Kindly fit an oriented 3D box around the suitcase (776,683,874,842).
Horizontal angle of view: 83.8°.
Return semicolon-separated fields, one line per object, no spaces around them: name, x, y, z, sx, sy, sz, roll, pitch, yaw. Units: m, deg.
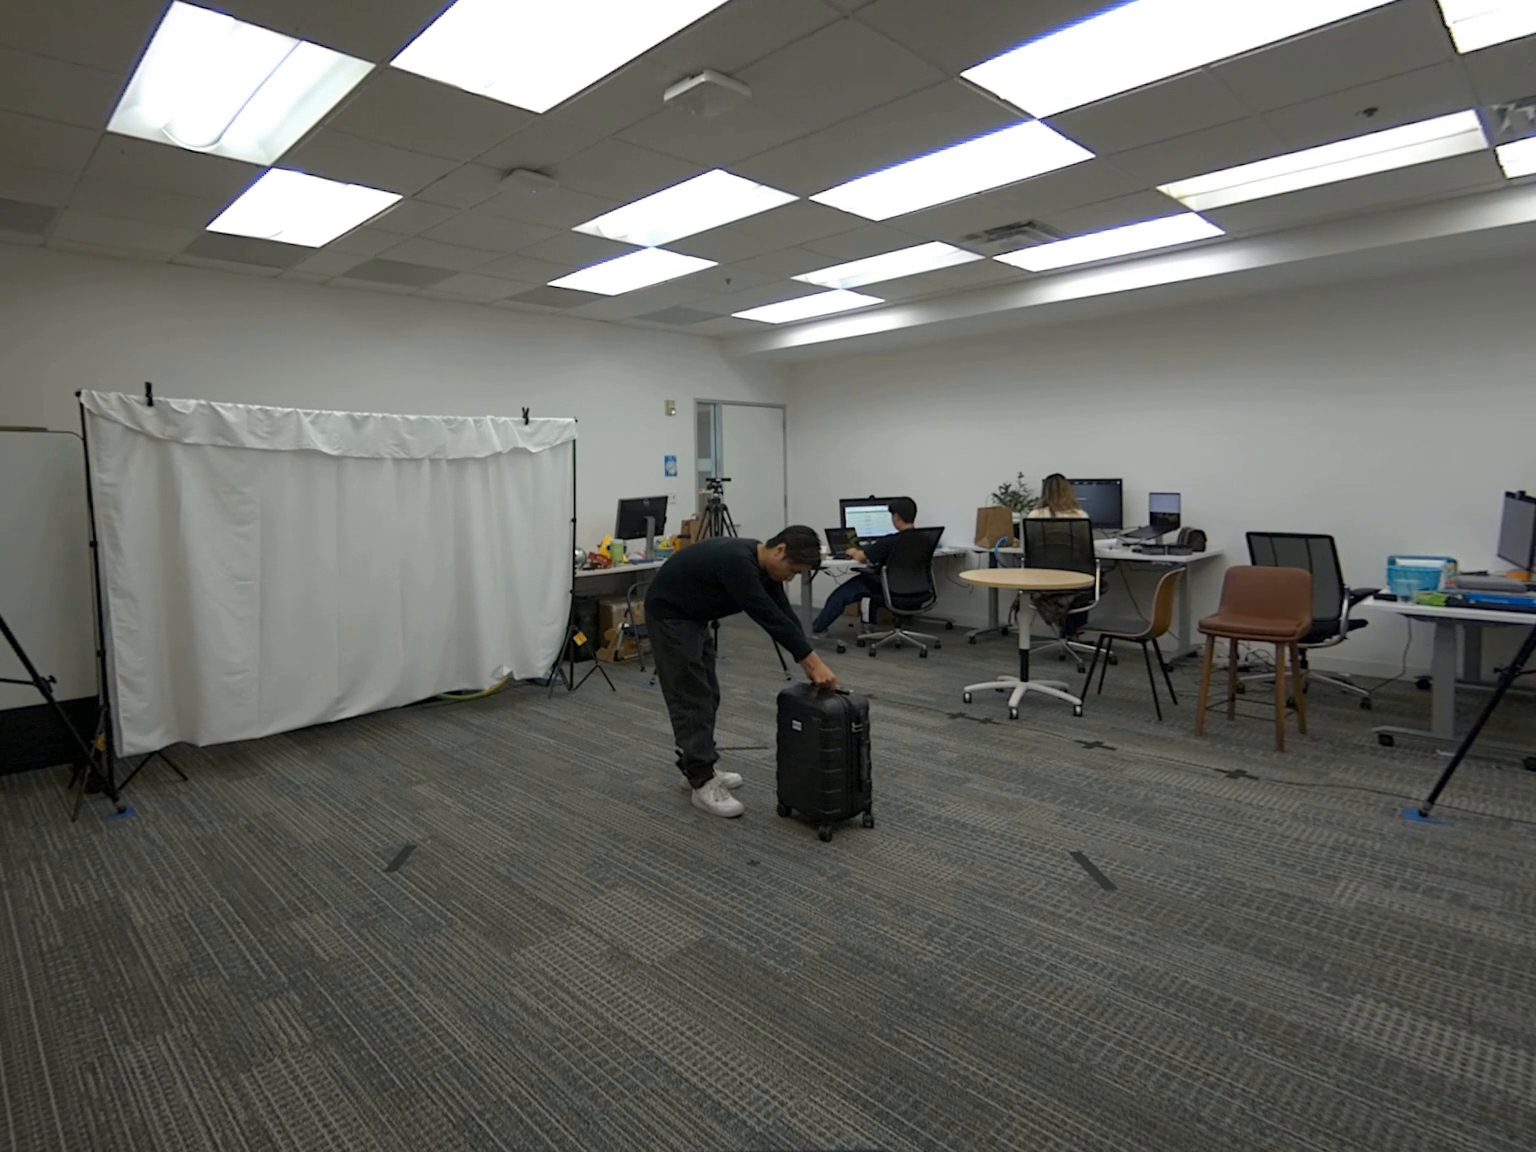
suitcase;0.230;0.721;3.465;0.242;0.547;0.386;-4;5;-34
